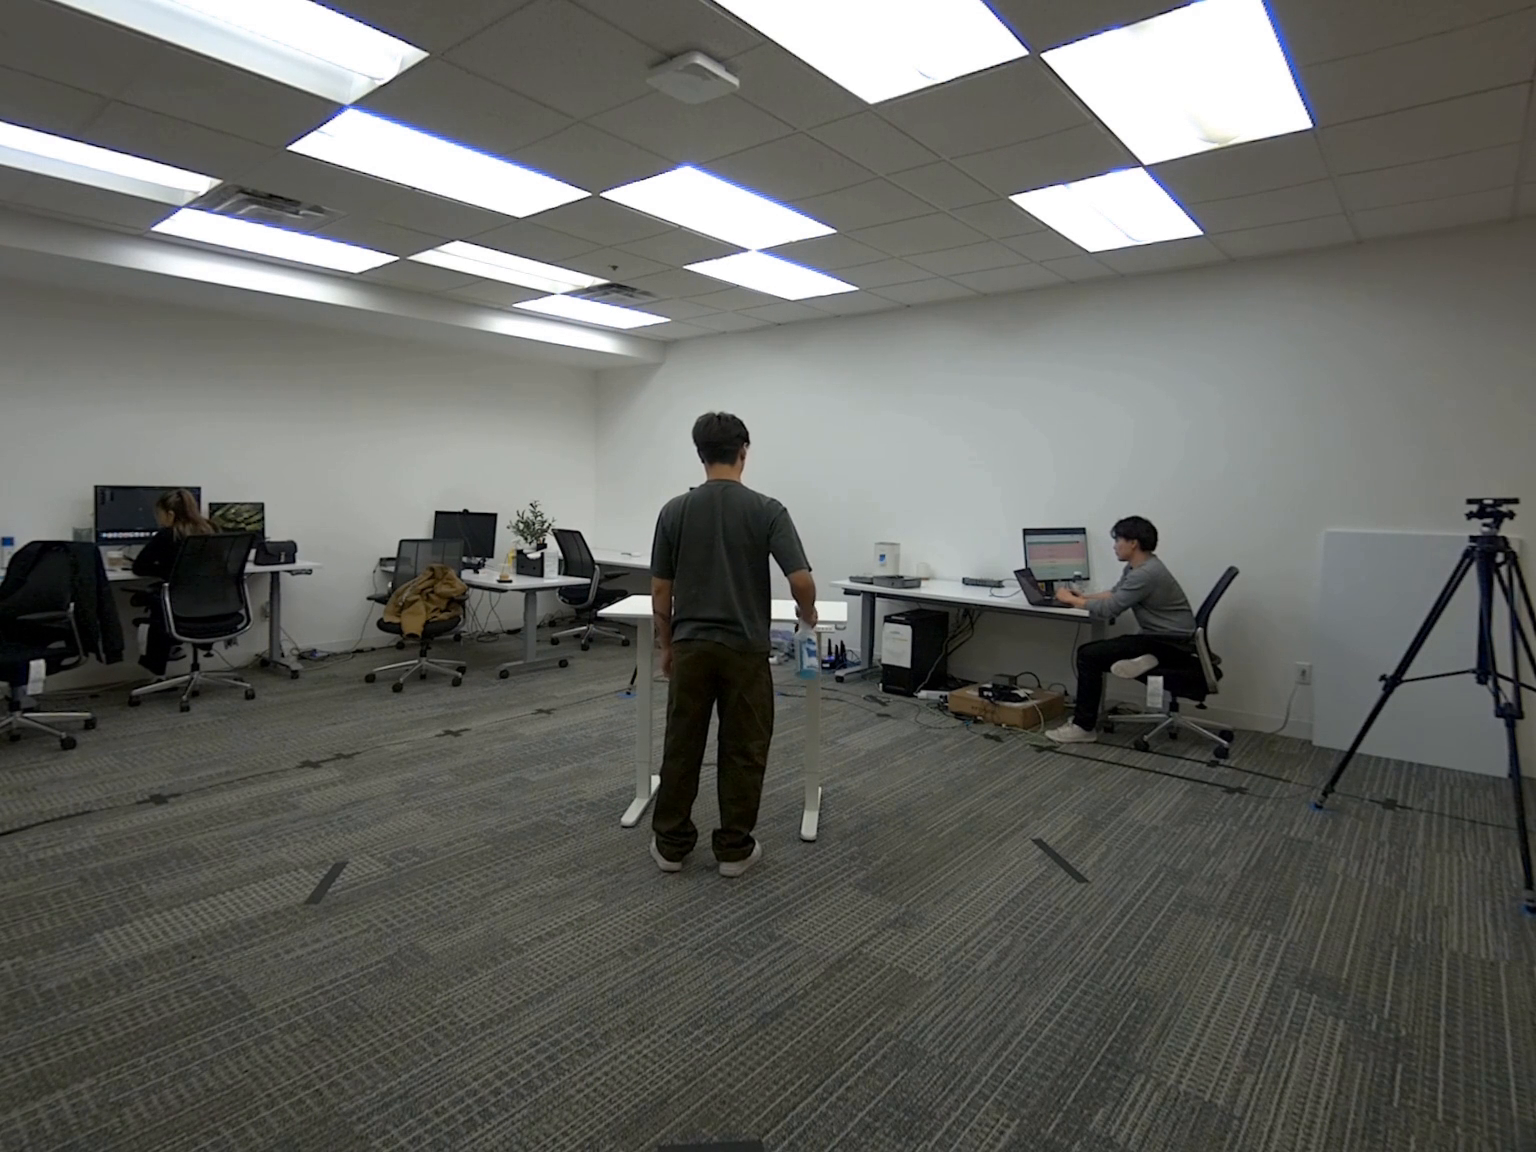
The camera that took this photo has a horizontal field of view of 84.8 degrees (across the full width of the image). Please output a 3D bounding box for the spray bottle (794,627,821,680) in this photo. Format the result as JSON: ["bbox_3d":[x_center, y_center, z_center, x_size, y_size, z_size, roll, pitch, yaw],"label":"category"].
[{"bbox_3d":[0.130,0.228,3.155,0.088,0.305,0.086,-19,-30,26],"label":"spray bottle"}]
